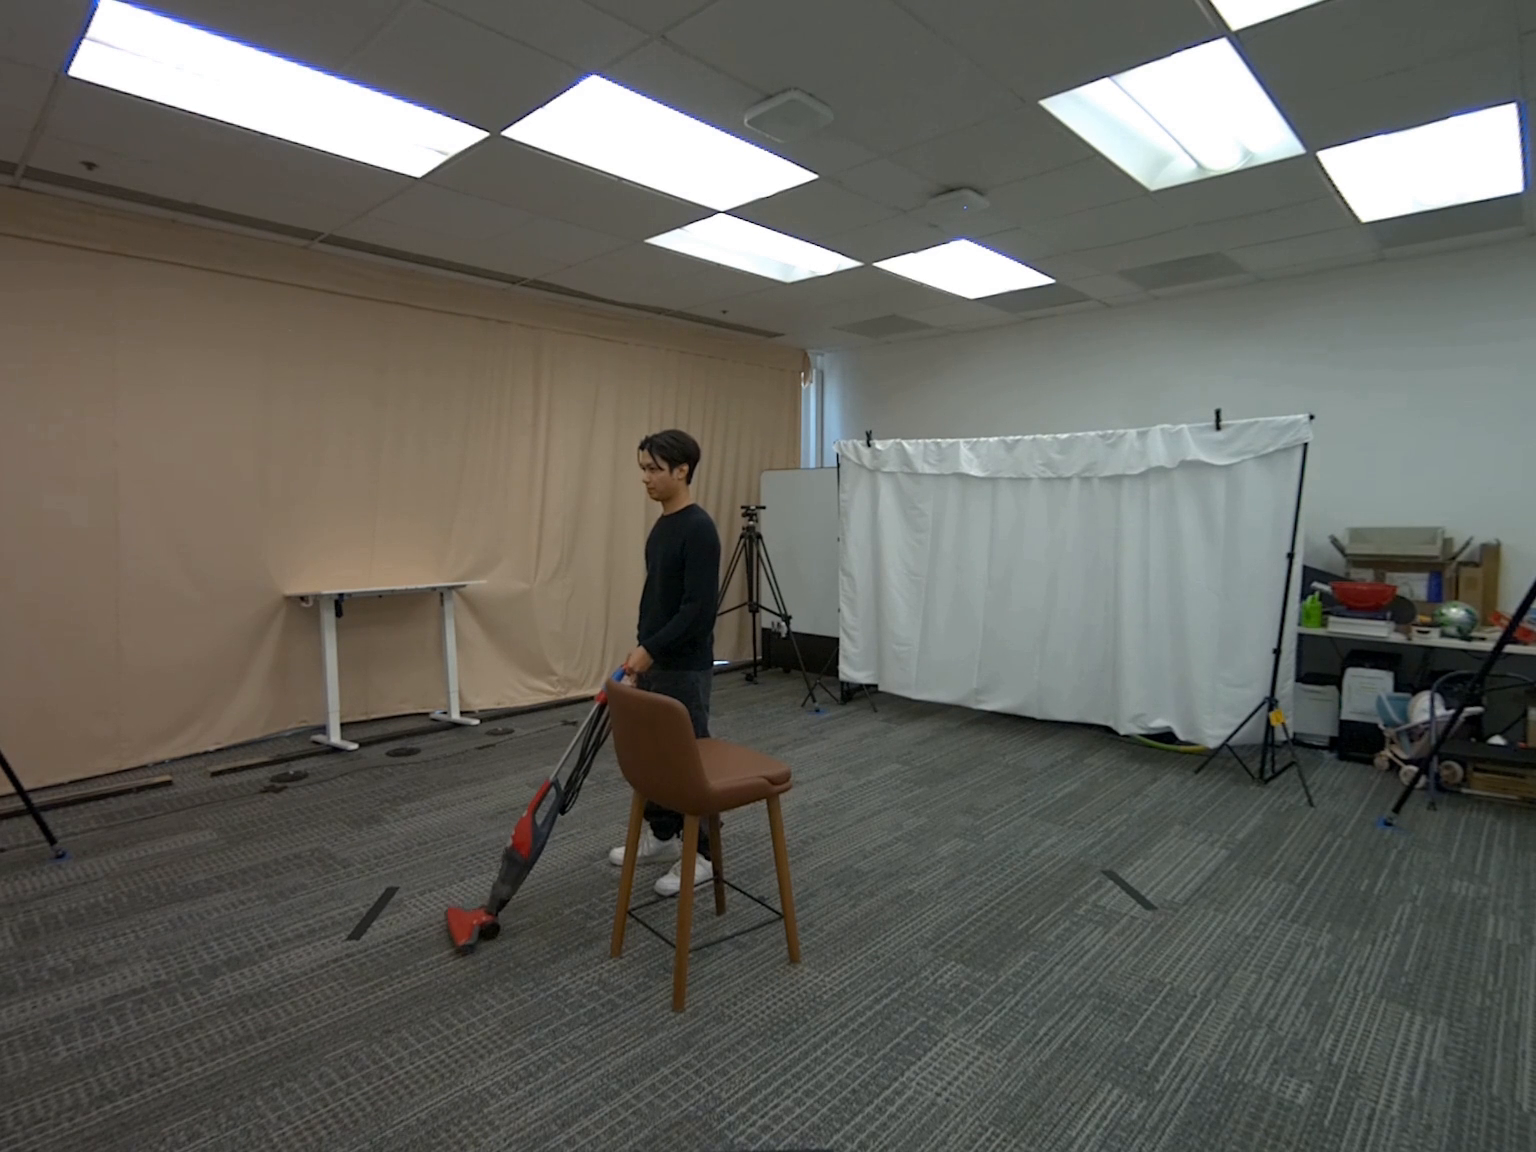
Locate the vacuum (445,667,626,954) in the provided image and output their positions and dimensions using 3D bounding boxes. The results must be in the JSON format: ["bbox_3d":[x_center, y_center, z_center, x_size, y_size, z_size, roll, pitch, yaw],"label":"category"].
[{"bbox_3d":[-0.708,0.721,2.843,0.140,1.049,0.260,37,-13,-27],"label":"vacuum"}]
